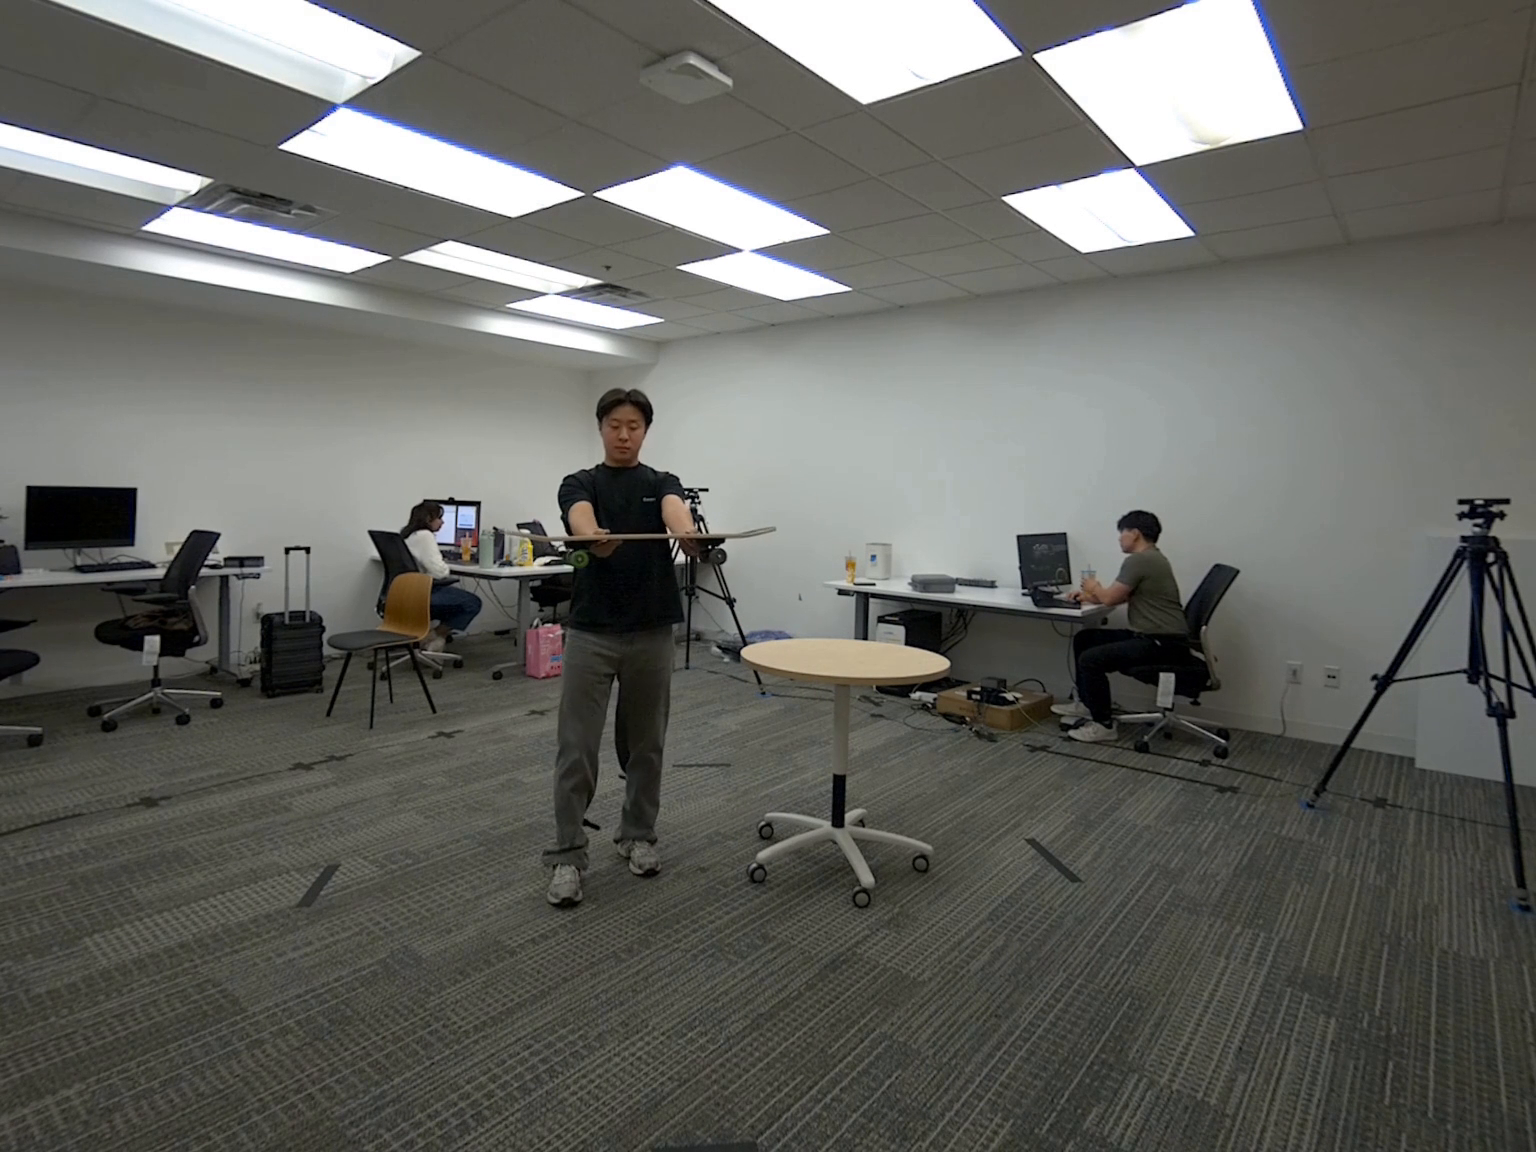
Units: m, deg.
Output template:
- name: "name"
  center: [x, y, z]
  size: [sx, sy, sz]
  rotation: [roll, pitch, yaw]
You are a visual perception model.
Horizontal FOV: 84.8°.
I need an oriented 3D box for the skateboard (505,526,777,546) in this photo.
- name: "skateboard"
  center: [-0.374, -0.093, 2.484]
  size: [0.777, 0.110, 0.195]
  rotation: [0, 2, -10]
